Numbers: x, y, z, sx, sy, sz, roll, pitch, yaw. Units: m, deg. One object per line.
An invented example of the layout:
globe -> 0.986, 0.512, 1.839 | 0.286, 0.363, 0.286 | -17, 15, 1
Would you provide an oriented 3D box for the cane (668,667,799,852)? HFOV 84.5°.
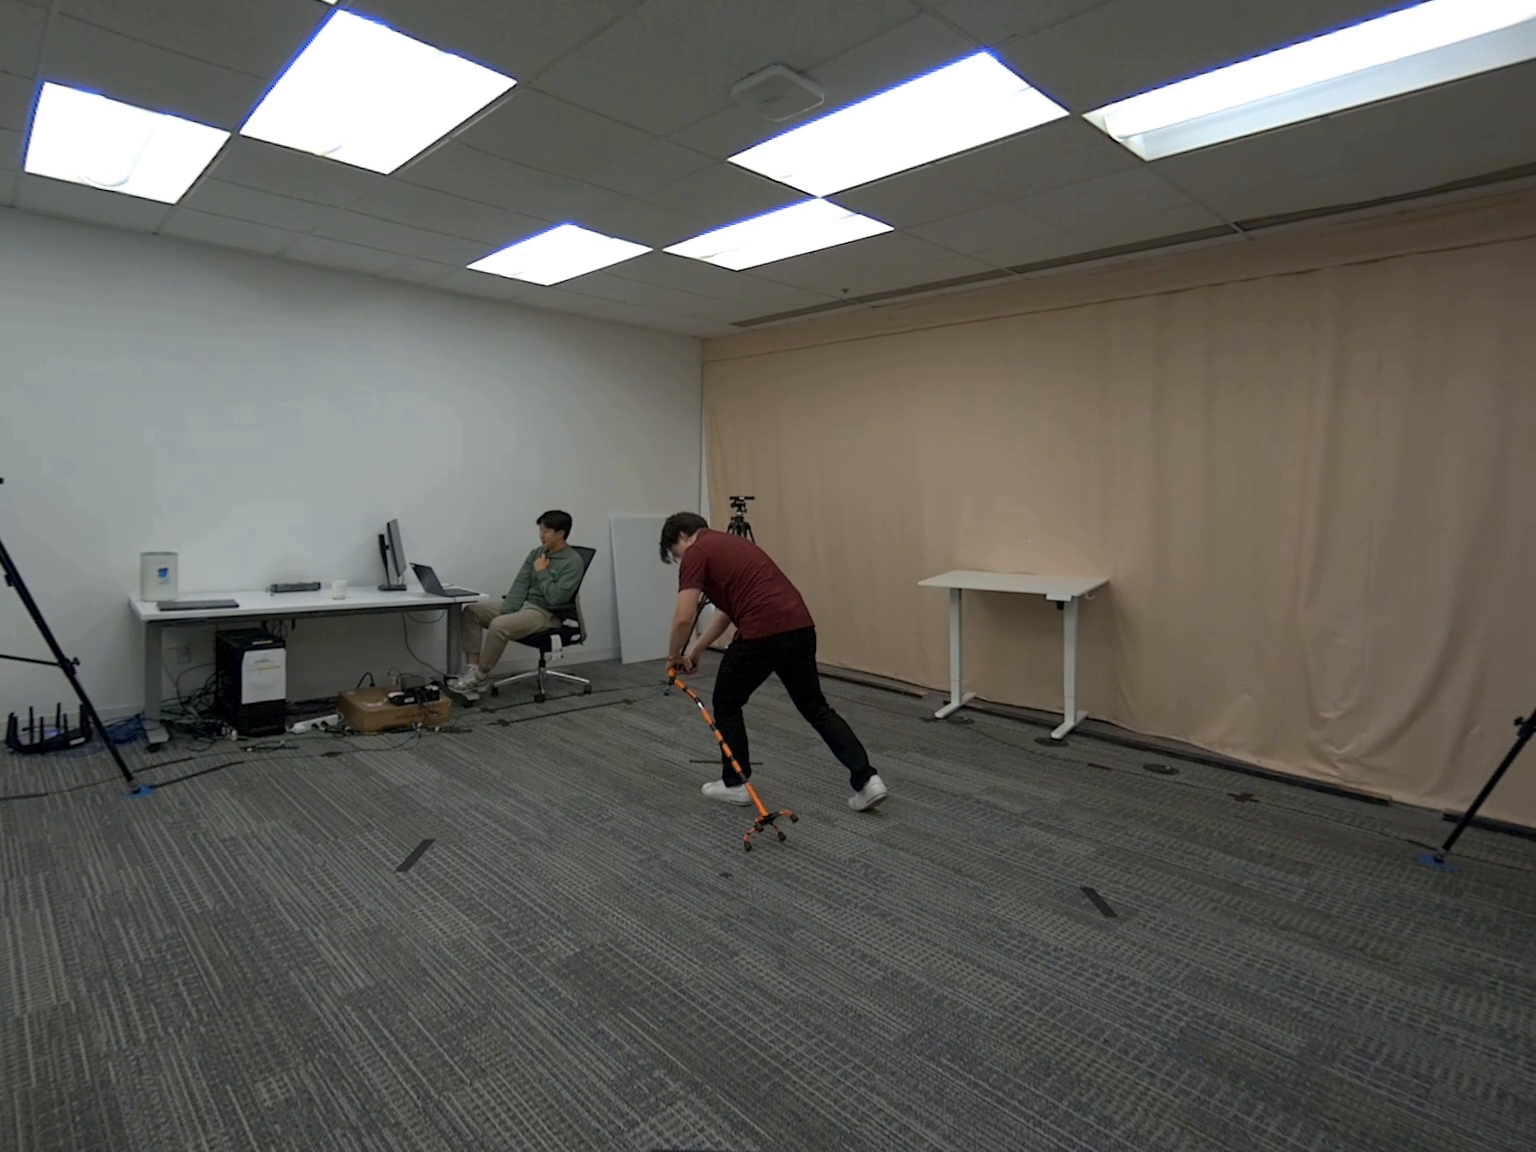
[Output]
cane -> -0.215, 0.723, 3.619 | 0.202, 0.150, 0.936 | -2, 41, -37
